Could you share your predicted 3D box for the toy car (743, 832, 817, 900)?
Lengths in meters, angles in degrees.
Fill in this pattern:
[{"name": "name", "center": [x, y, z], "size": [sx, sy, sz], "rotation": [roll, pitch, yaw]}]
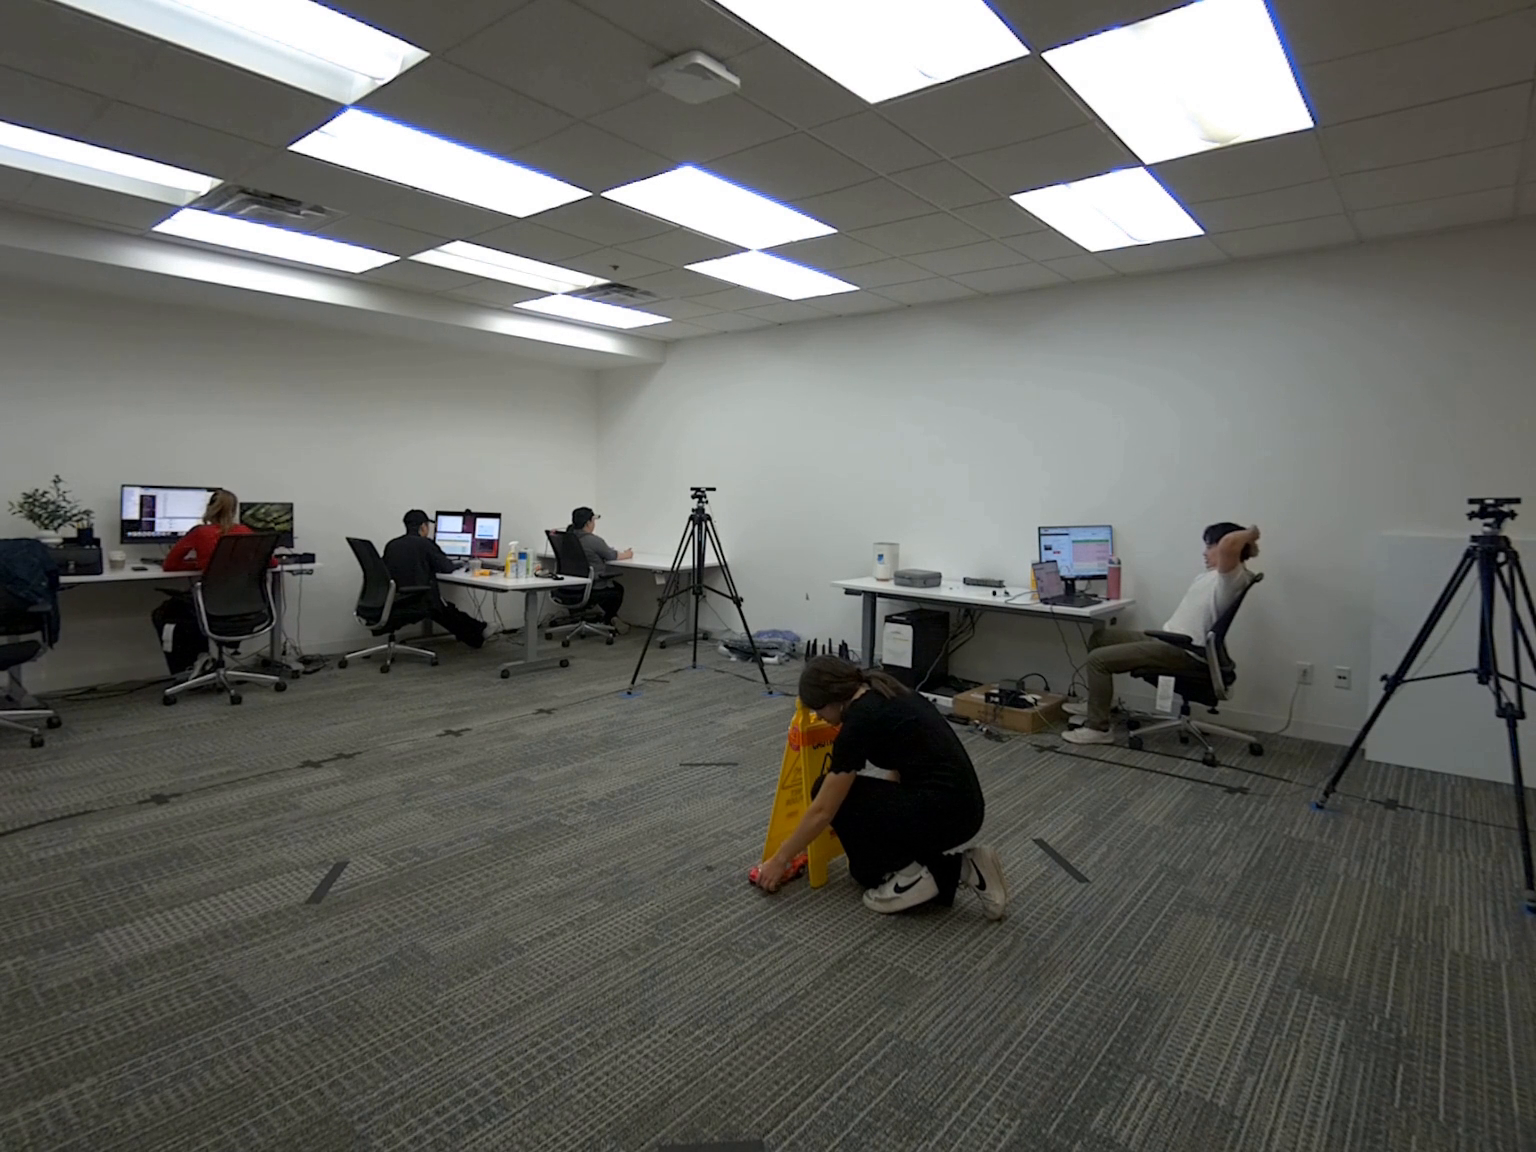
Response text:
[{"name": "toy car", "center": [0.045, 1.044, 3.045], "size": [0.135, 0.082, 0.249], "rotation": [5, 17, 39]}]
